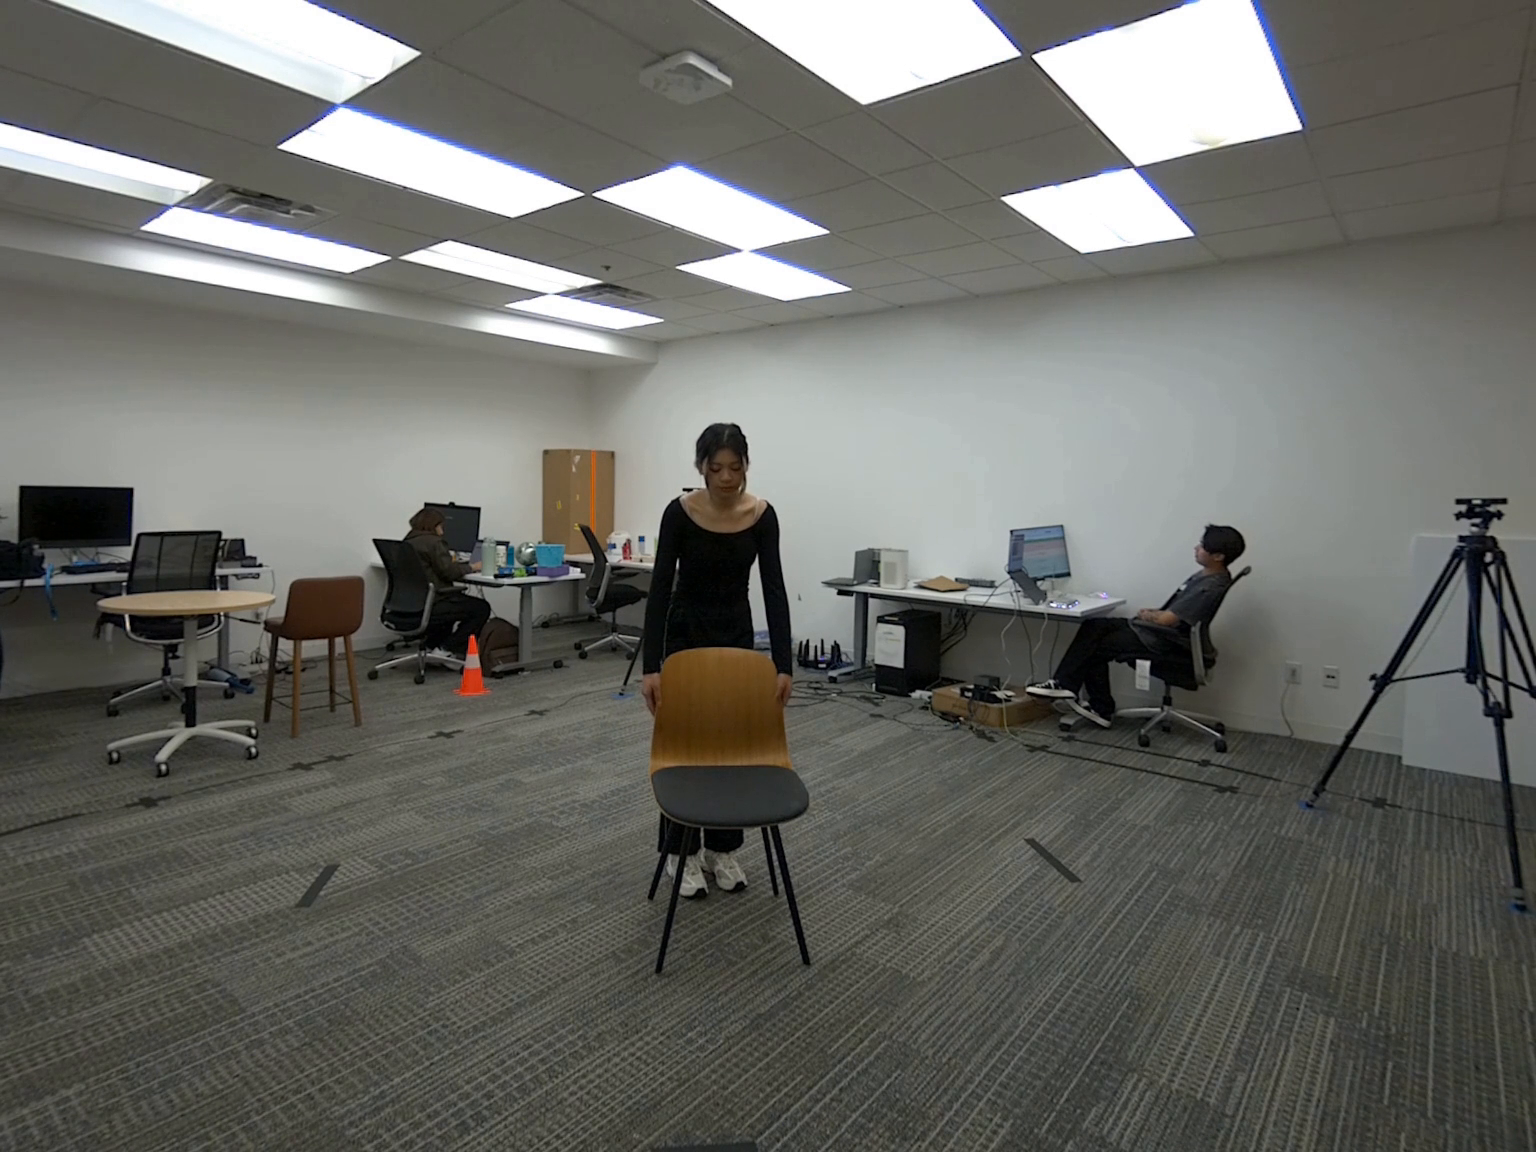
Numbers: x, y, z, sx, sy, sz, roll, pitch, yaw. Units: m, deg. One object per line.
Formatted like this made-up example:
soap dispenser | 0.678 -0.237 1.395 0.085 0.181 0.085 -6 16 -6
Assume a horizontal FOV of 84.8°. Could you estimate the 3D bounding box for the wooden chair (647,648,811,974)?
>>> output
wooden chair | -0.131 0.688 2.646 0.473 0.878 0.528 1 -1 -10
